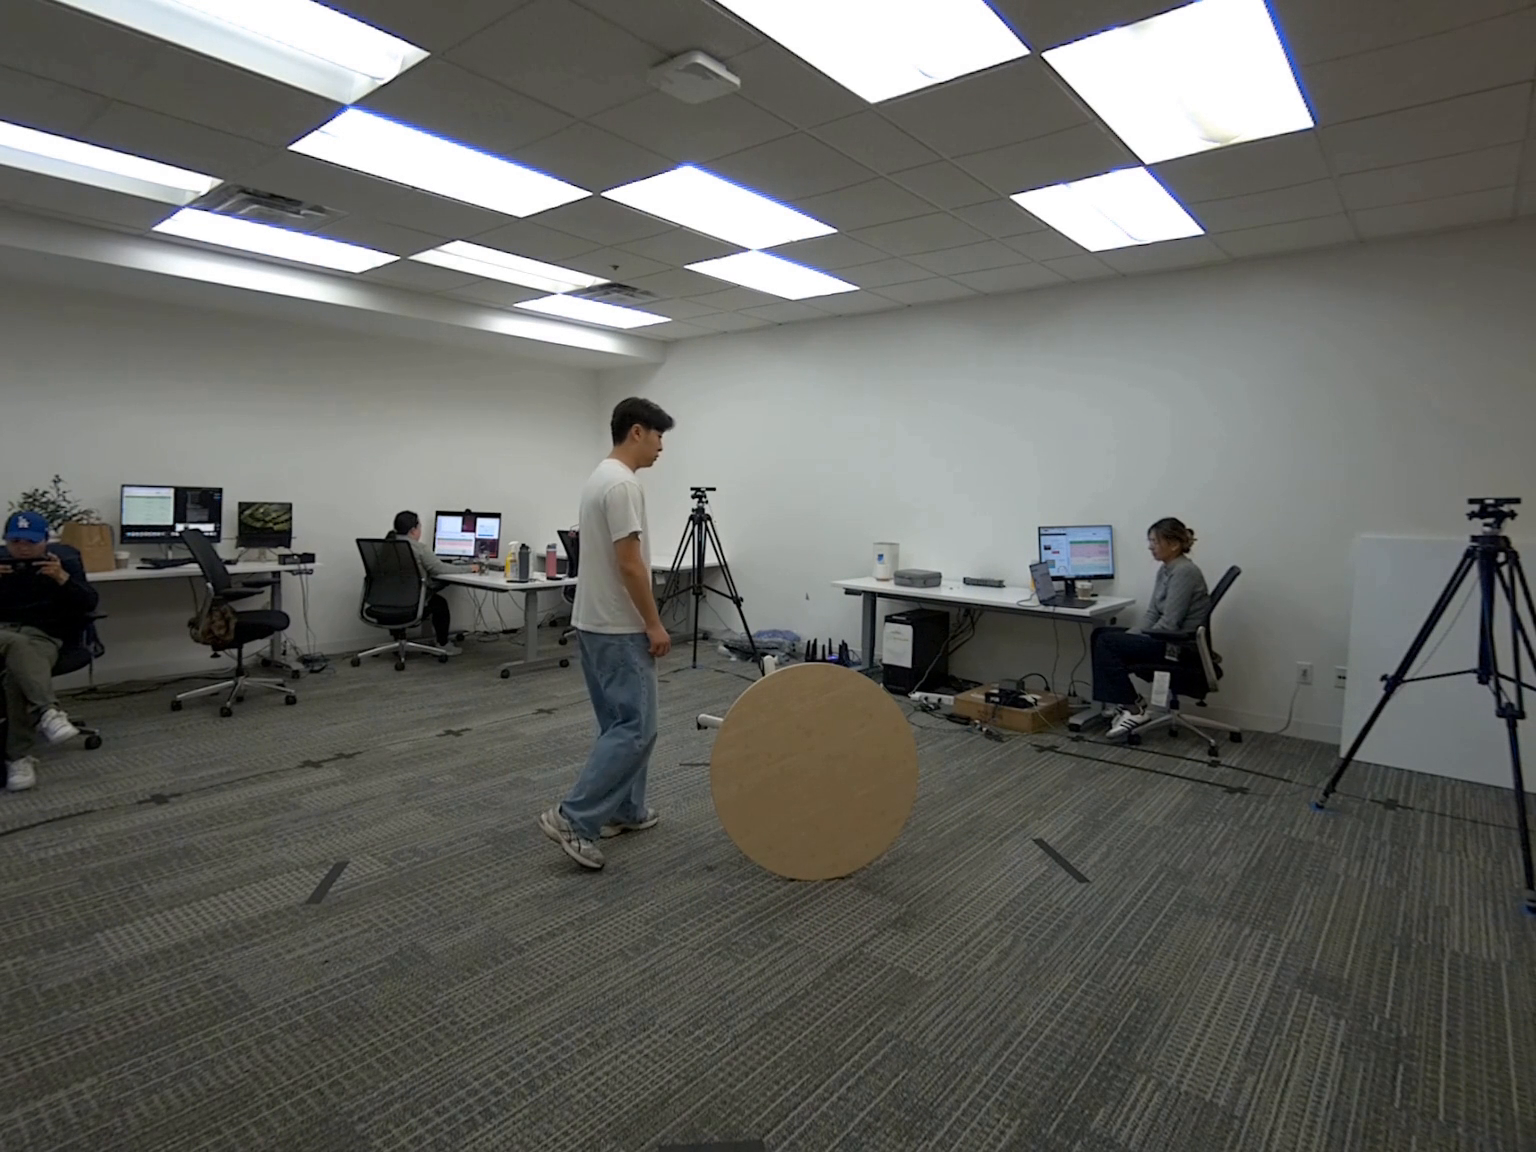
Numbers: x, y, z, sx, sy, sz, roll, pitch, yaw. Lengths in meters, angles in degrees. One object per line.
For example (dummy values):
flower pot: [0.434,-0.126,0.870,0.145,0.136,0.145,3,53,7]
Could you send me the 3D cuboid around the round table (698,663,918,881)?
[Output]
round table: [0.076,0.694,3.444,0.776,0.786,0.794,0,-1,-11]
